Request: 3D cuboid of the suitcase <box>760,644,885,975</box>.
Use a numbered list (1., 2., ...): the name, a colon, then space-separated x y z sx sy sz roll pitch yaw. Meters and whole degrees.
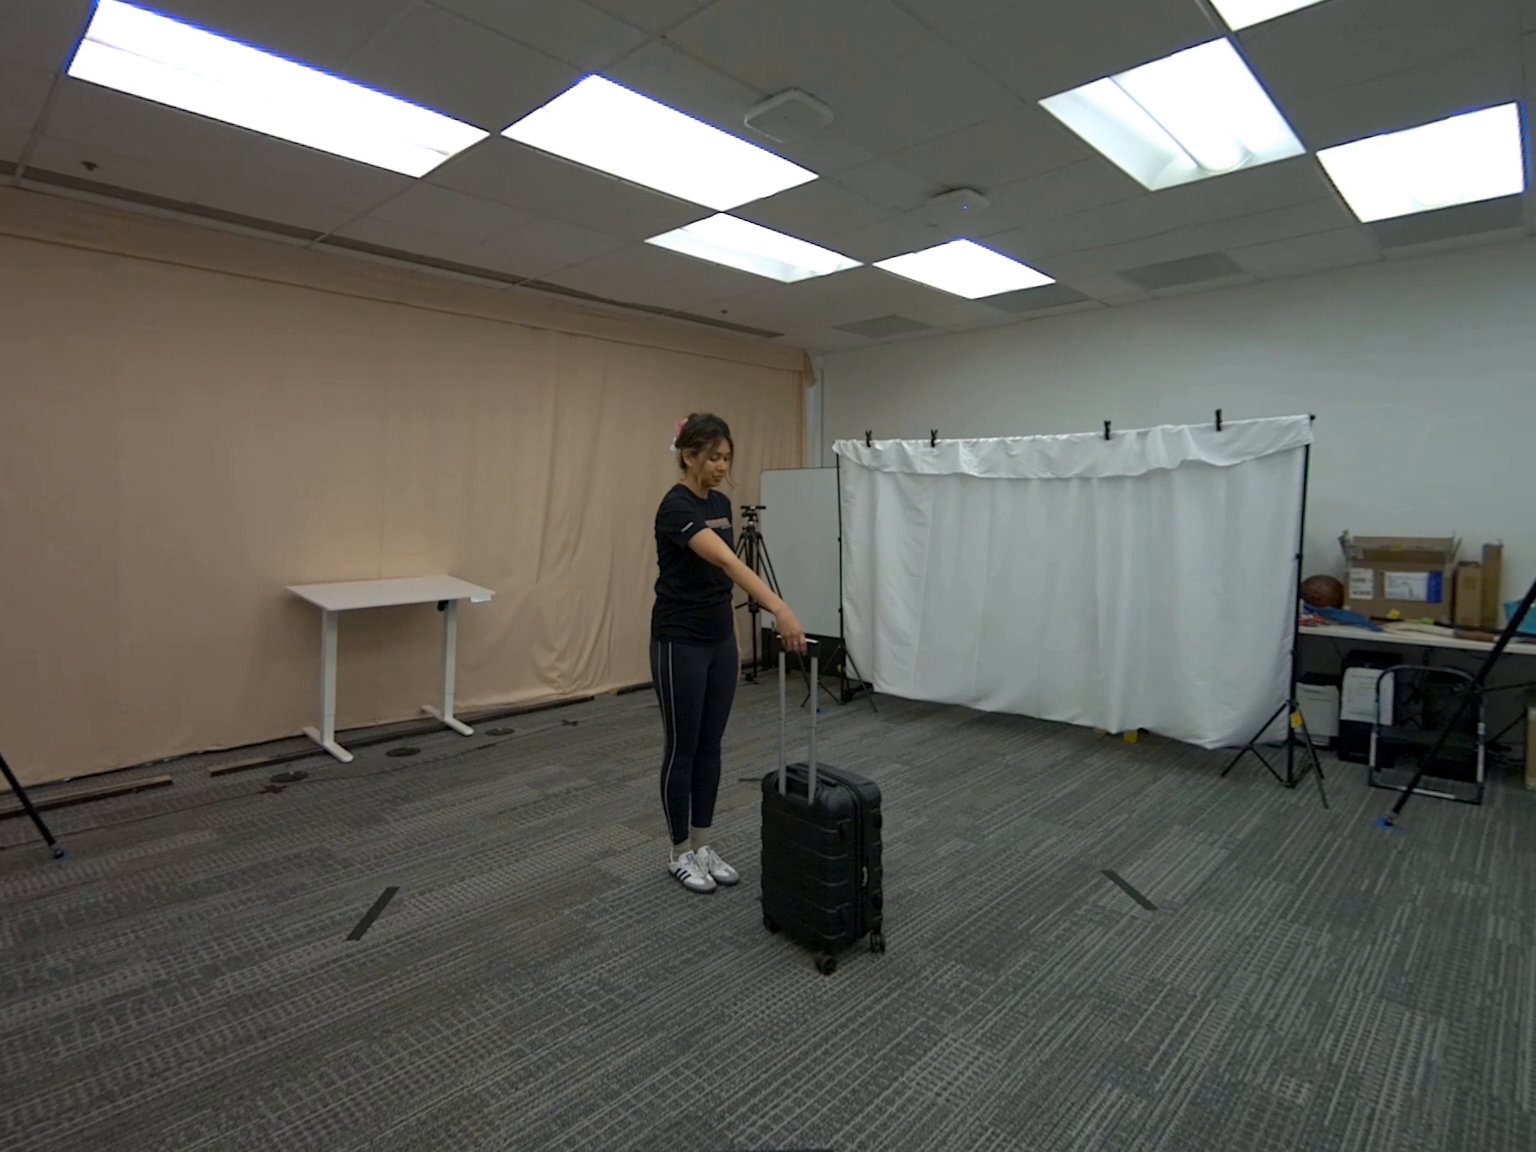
1. suitcase: 0.175 0.695 2.684 0.249 0.977 0.396 -1 3 -38
